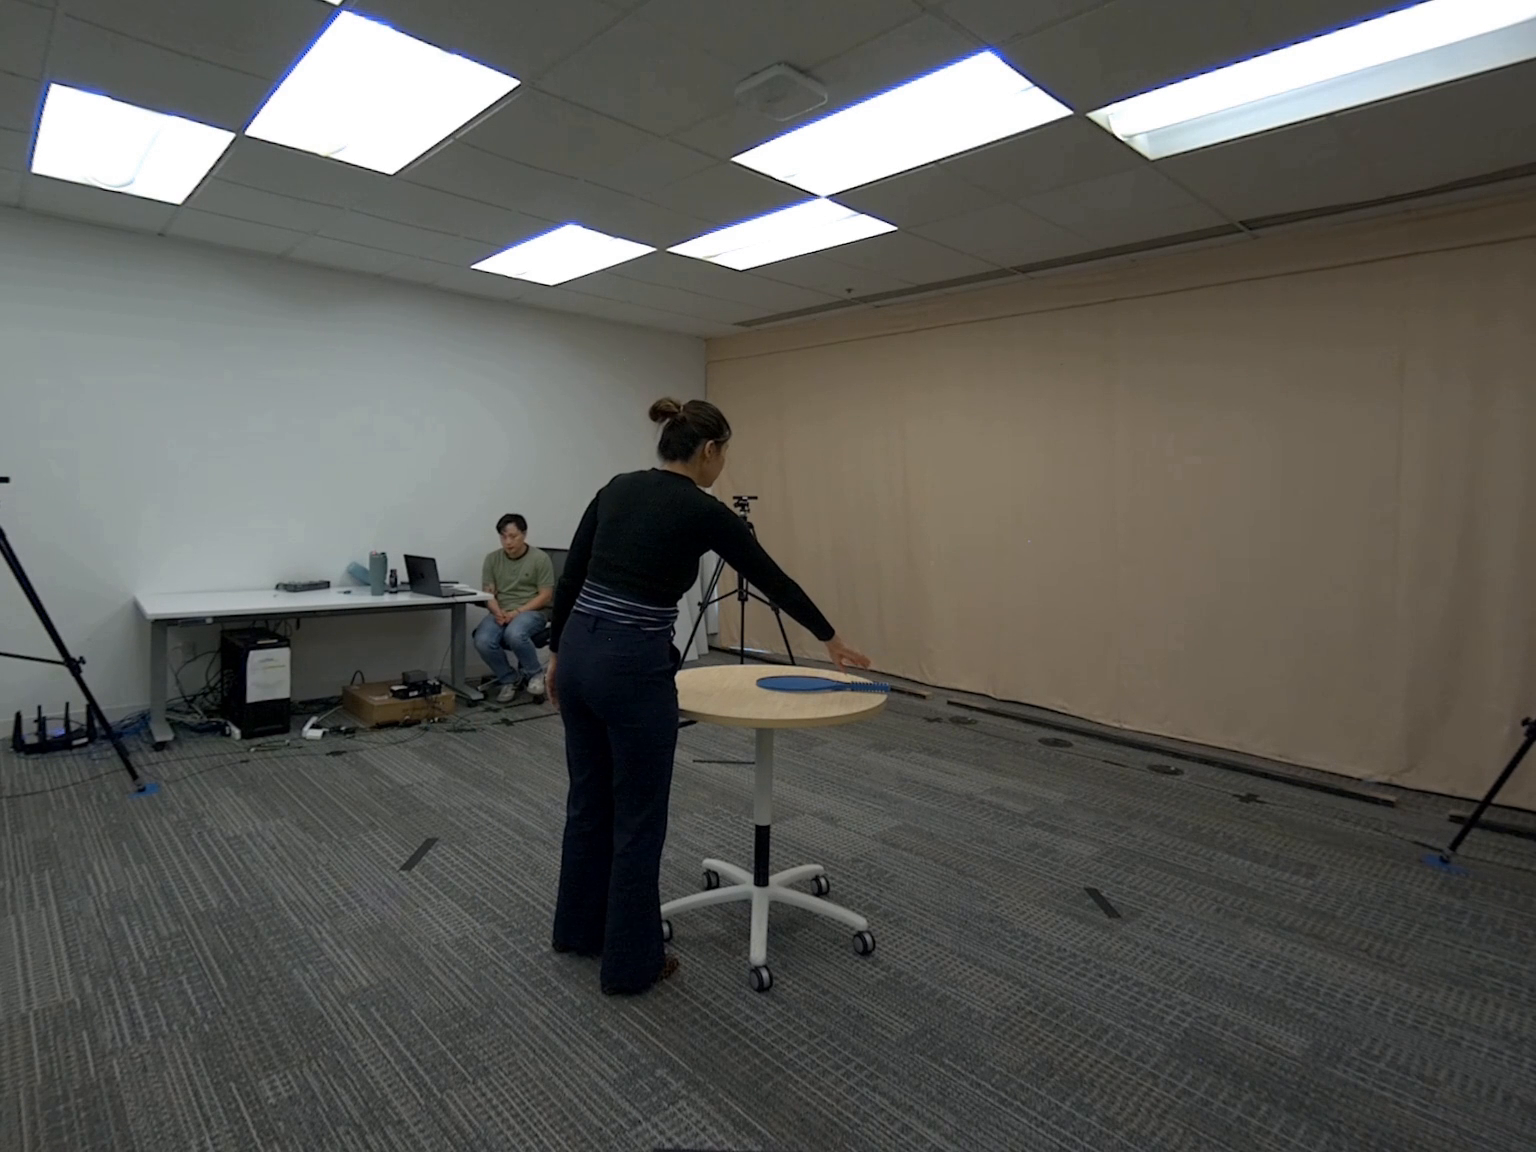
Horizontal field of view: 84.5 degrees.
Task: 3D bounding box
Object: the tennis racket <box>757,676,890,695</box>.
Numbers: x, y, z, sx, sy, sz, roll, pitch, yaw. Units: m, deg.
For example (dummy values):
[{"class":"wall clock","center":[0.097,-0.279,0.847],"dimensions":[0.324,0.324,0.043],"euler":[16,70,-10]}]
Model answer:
[{"class":"tennis racket","center":[0.177,0.350,2.705],"dimensions":[0.439,0.031,0.211],"euler":[1,5,18]}]
